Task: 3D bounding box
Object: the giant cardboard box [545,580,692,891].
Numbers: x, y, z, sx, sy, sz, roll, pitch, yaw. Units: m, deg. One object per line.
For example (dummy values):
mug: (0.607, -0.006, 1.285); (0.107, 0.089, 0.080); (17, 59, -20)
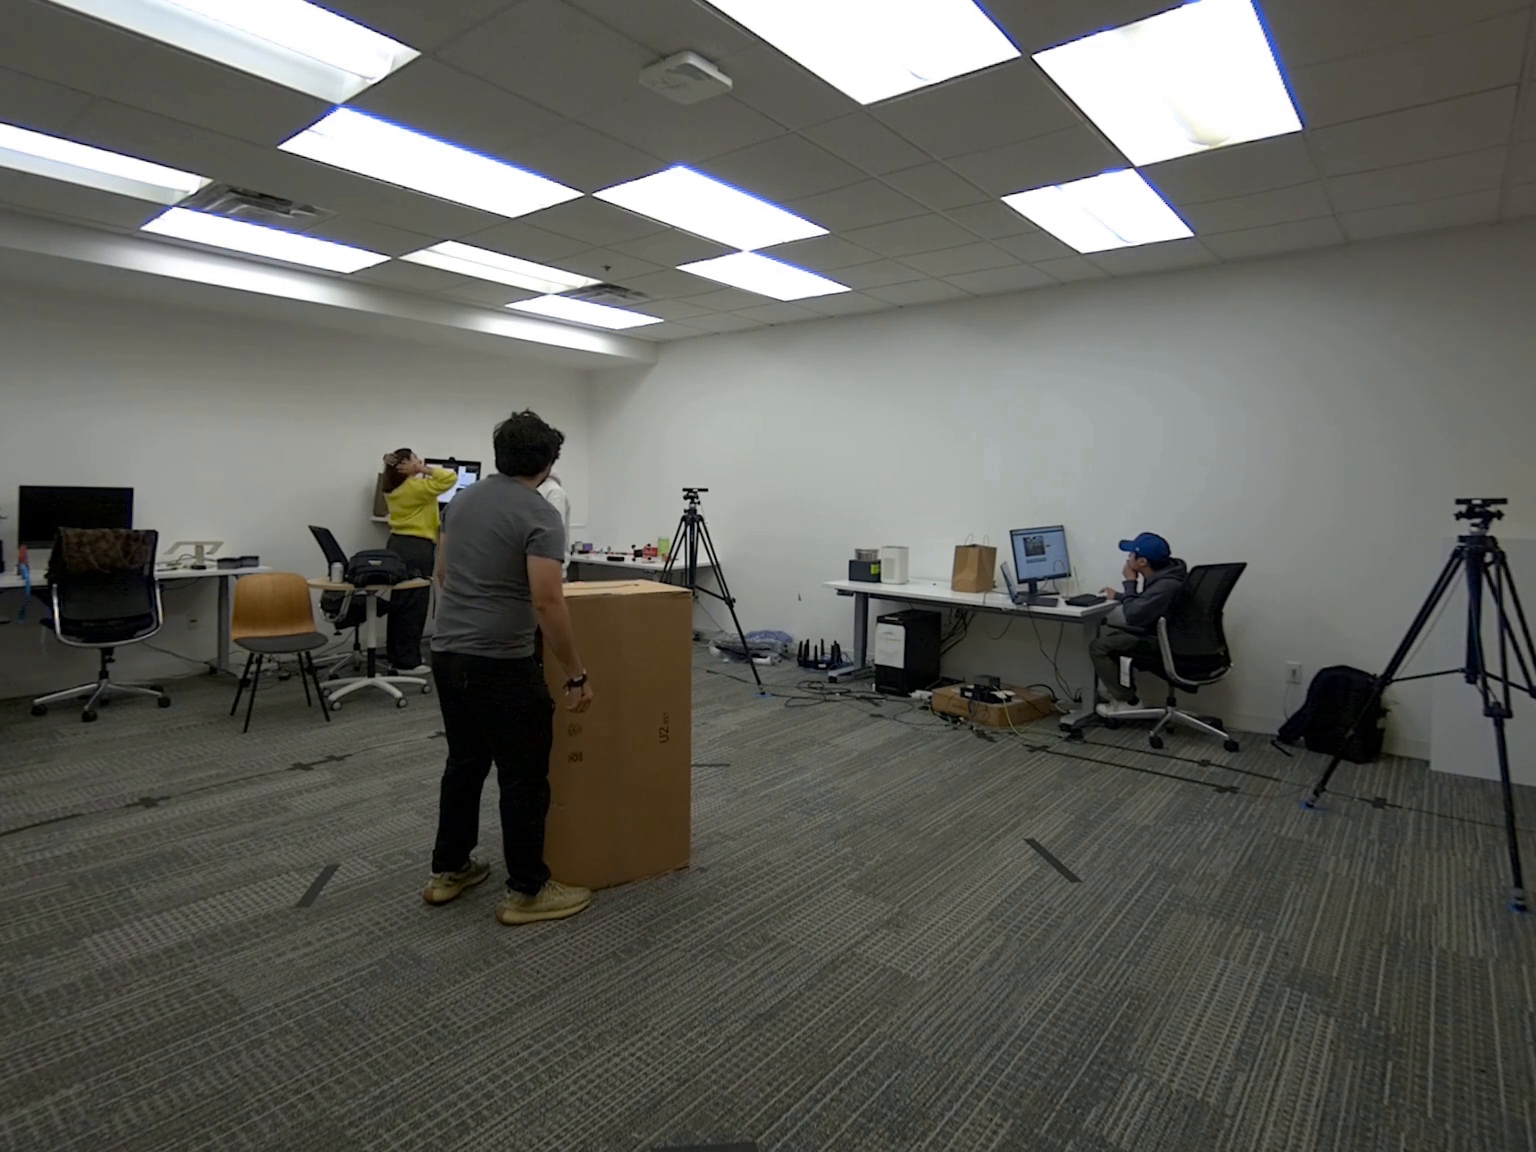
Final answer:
giant cardboard box: (-0.640, 0.553, 3.134); (0.567, 1.024, 0.461); (-1, 4, -35)
